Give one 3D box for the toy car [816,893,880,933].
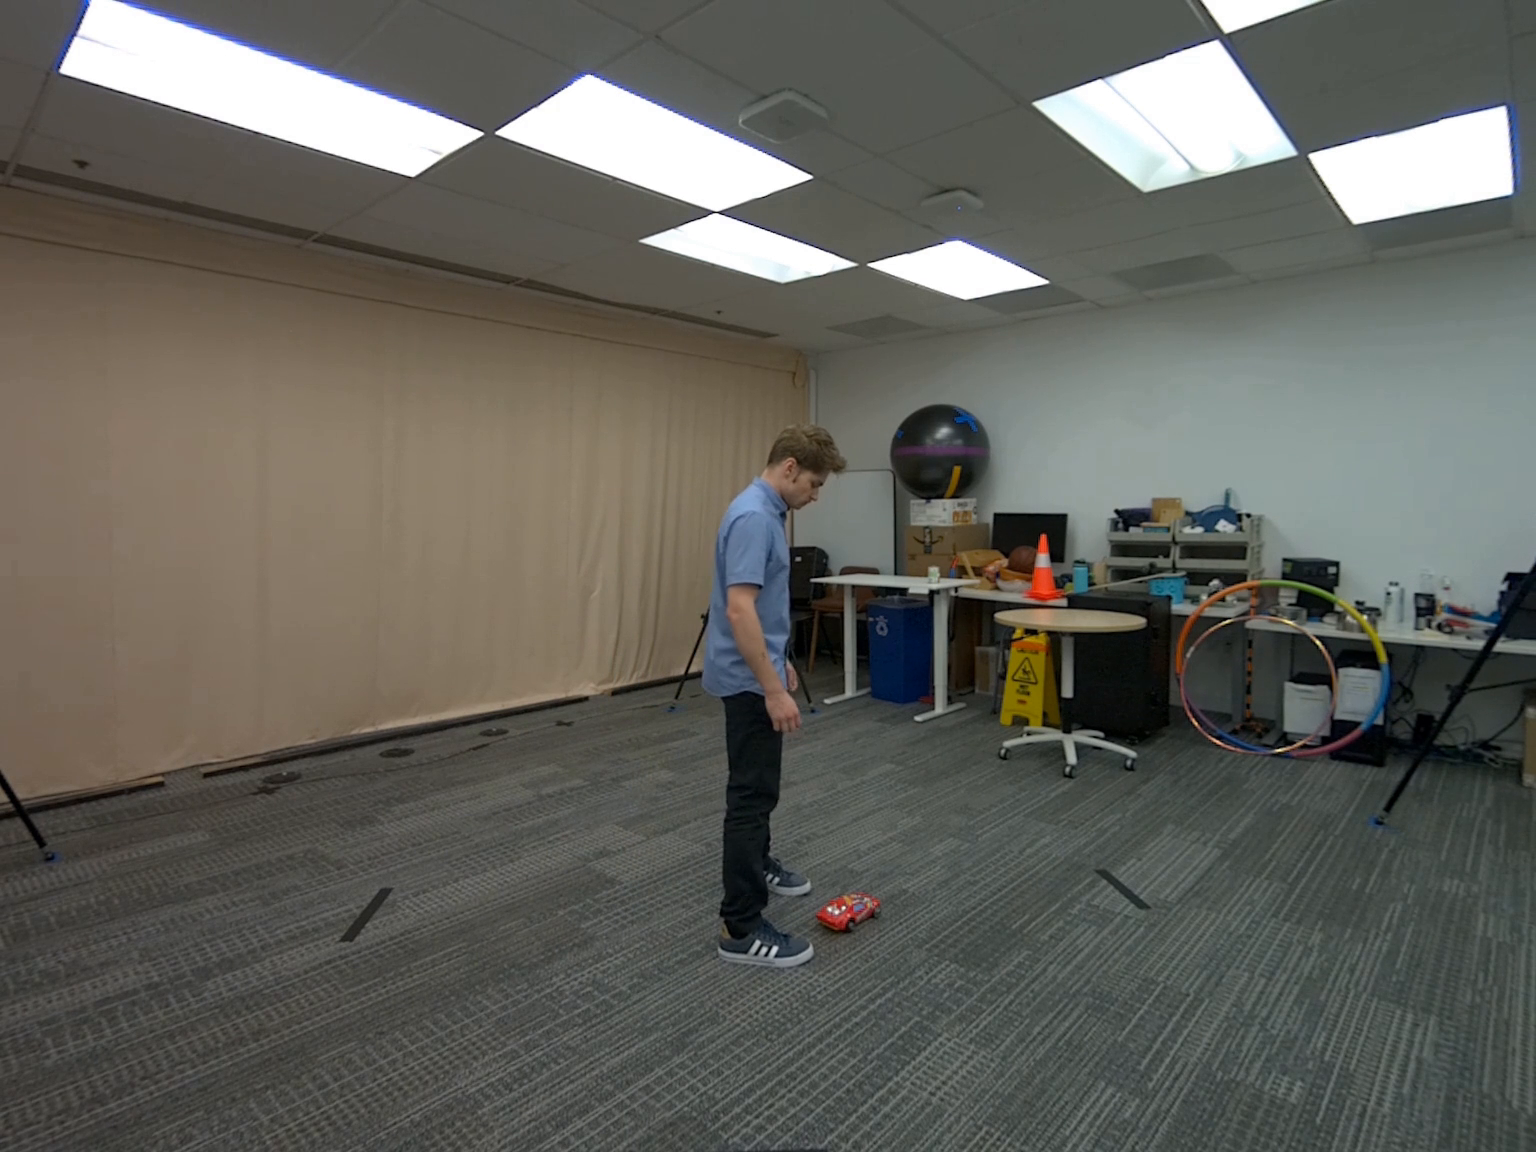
[{"bbox_3d":[0.266,1.124,2.815,0.246,0.083,0.135,11,-4,-43],"label":"toy car"}]
